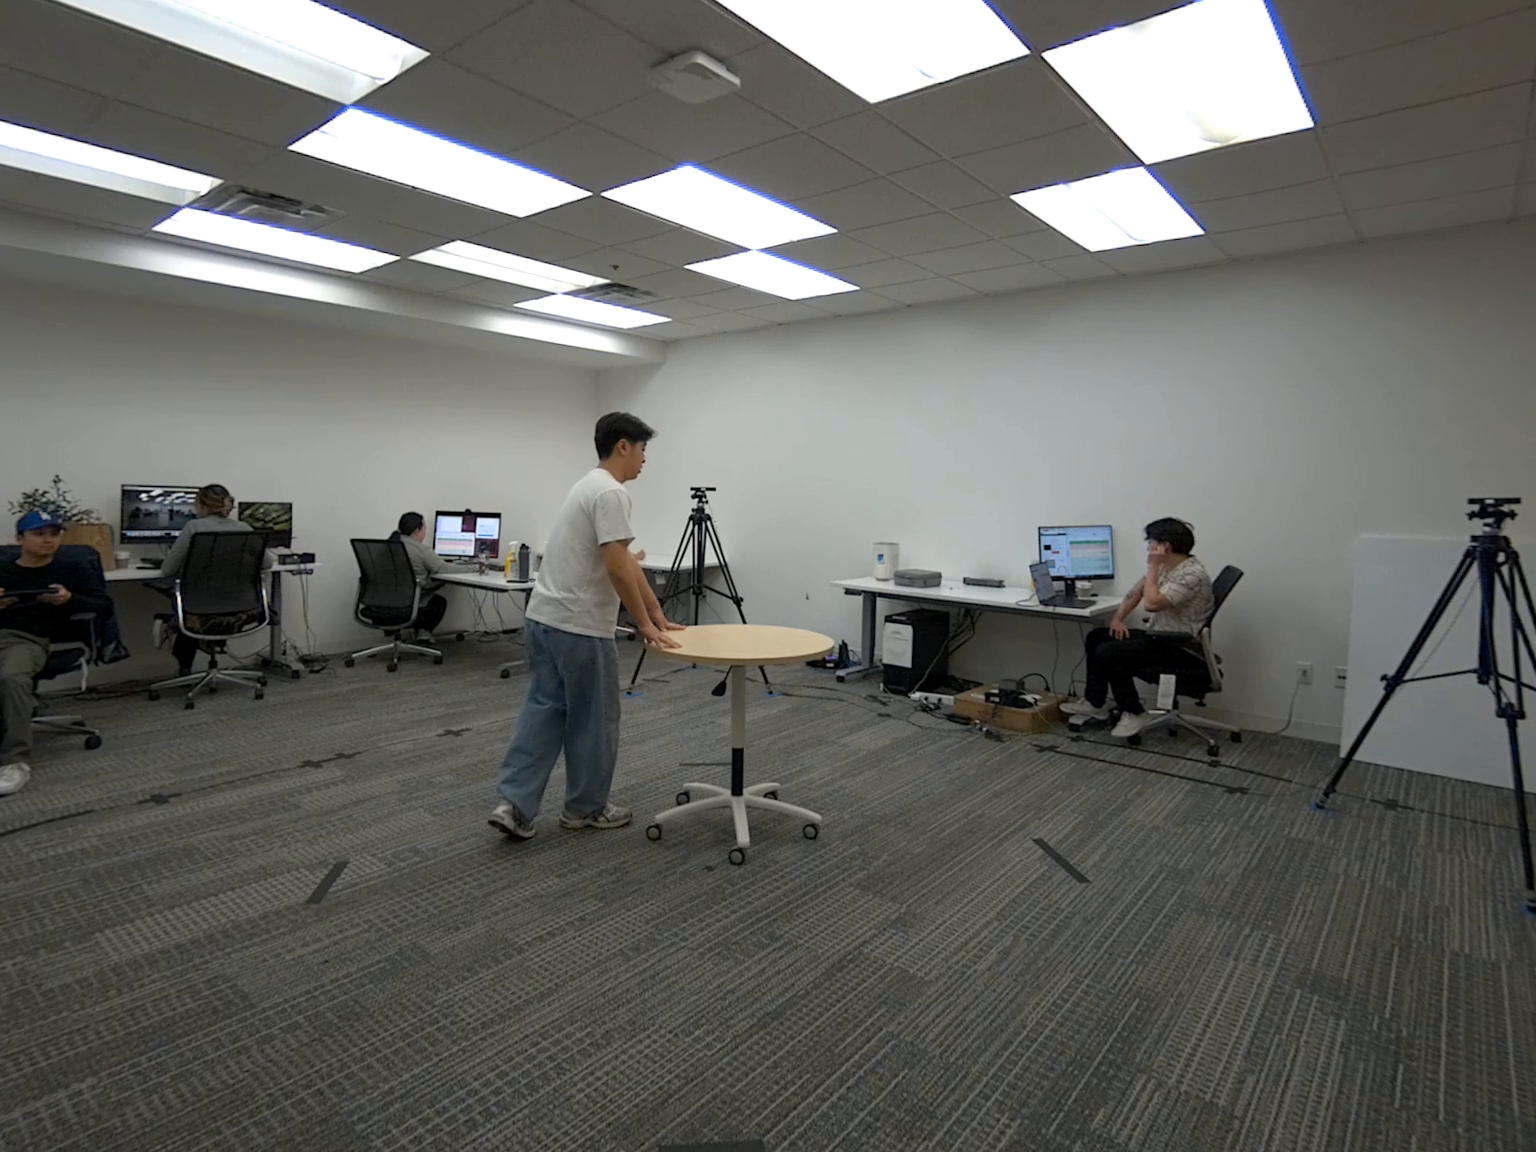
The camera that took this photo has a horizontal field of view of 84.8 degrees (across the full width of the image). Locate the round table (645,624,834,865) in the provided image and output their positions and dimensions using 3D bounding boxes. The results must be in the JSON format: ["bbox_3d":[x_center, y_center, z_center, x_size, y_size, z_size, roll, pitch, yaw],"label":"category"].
[{"bbox_3d":[-0.138,0.650,3.464,0.763,0.791,0.768,1,4,-2],"label":"round table"}]
